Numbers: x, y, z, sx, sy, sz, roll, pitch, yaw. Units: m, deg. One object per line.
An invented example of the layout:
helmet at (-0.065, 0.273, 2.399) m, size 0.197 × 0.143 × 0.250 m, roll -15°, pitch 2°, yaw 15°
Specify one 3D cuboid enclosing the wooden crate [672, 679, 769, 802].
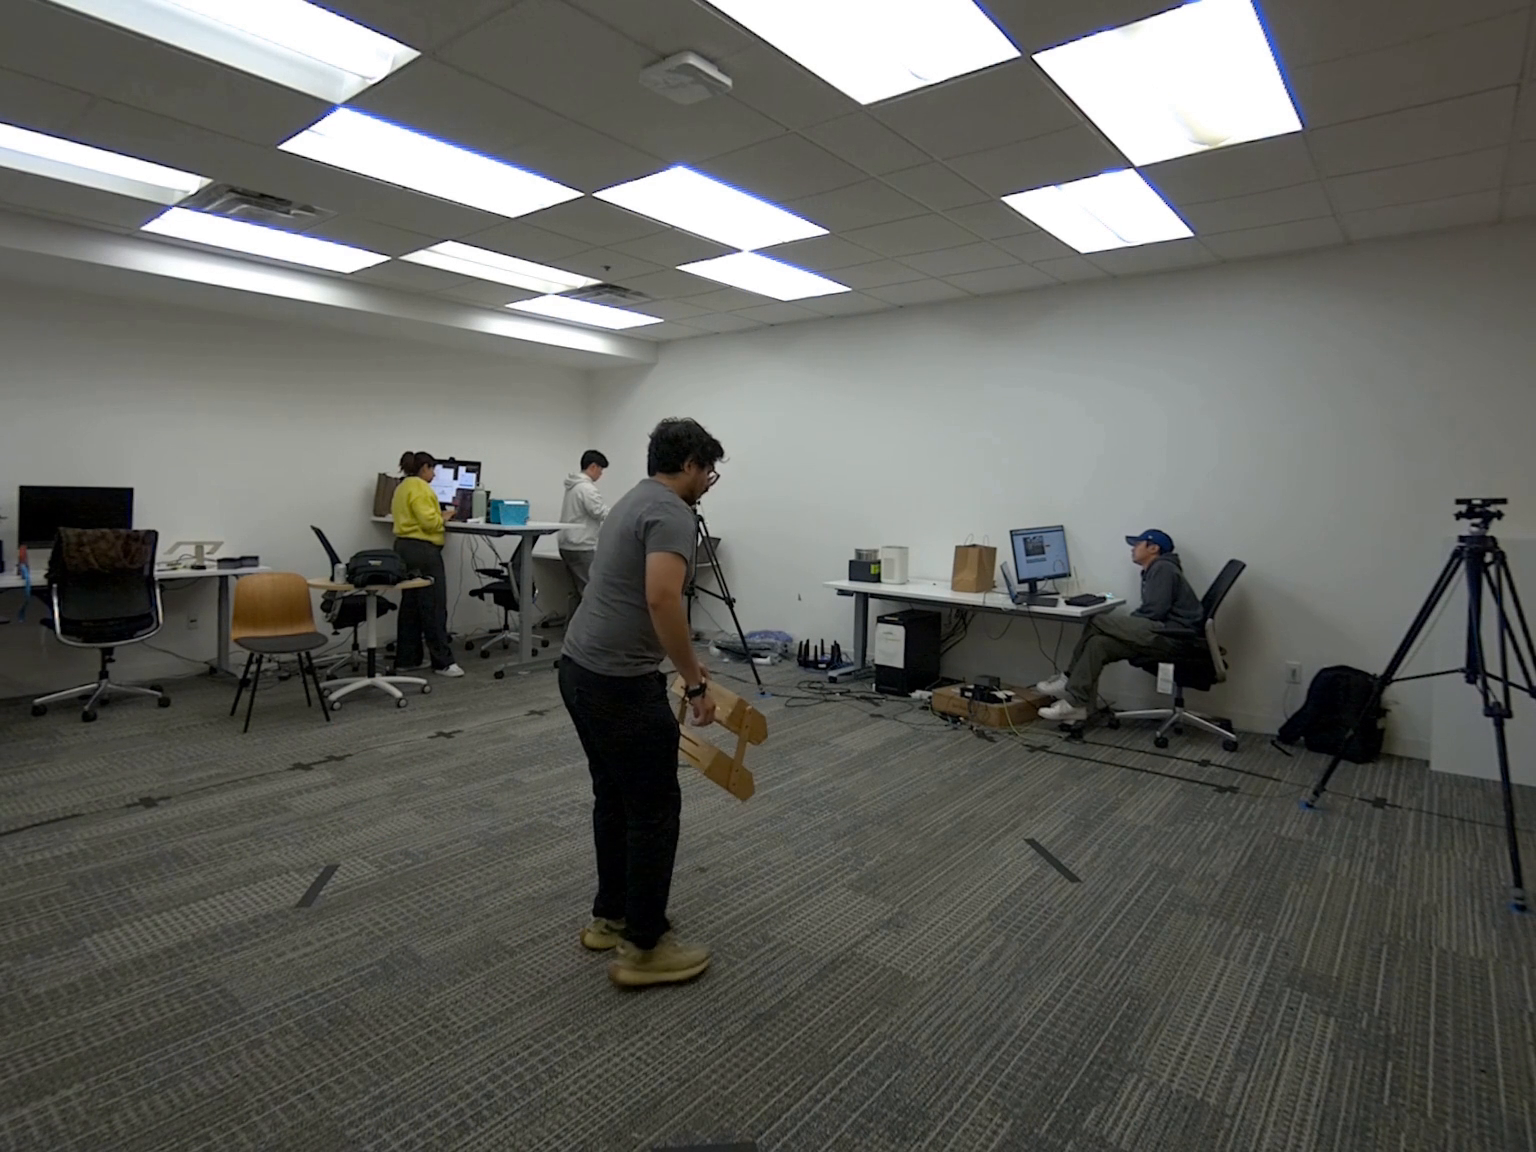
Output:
wooden crate at (-0.183, 0.521, 2.818) m, size 0.337 × 0.274 × 0.289 m, roll 19°, pitch -19°, yaw 47°
